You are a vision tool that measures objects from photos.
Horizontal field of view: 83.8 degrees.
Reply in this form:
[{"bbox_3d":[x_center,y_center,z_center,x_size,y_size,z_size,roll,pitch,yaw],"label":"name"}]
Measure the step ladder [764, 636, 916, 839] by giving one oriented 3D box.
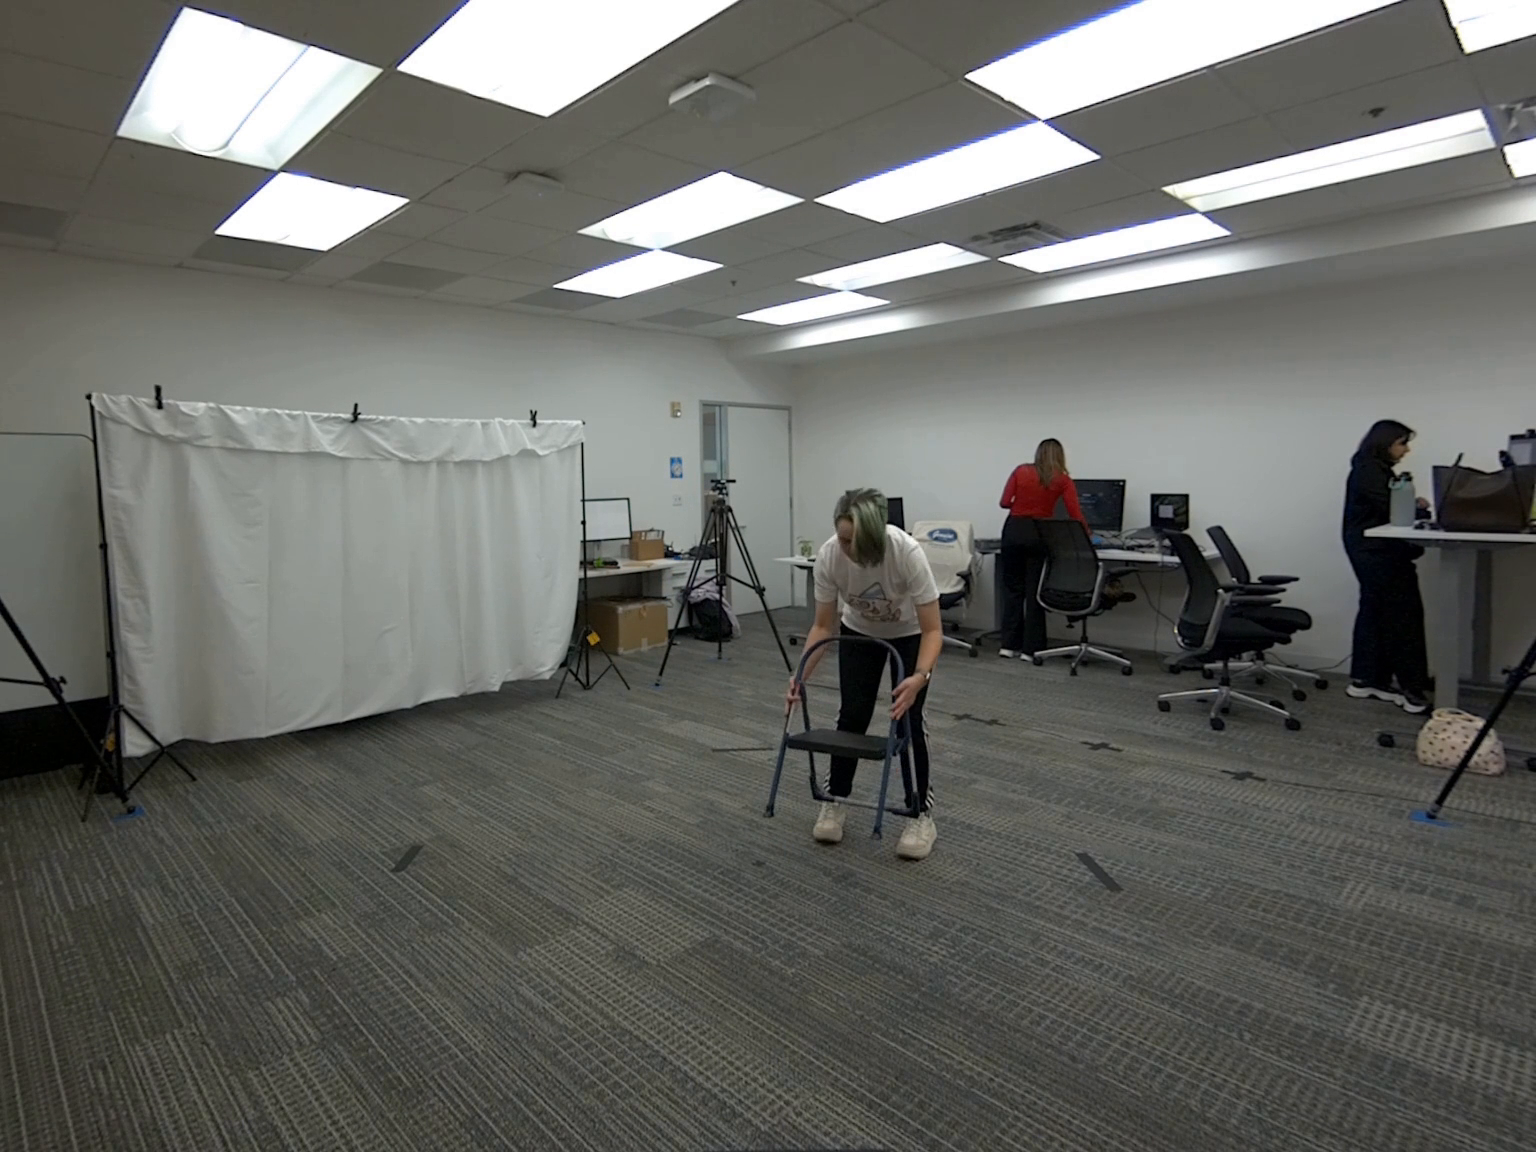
[{"bbox_3d":[0.260,0.514,2.910,0.442,0.608,0.339,-1,-3,35],"label":"step ladder"}]
